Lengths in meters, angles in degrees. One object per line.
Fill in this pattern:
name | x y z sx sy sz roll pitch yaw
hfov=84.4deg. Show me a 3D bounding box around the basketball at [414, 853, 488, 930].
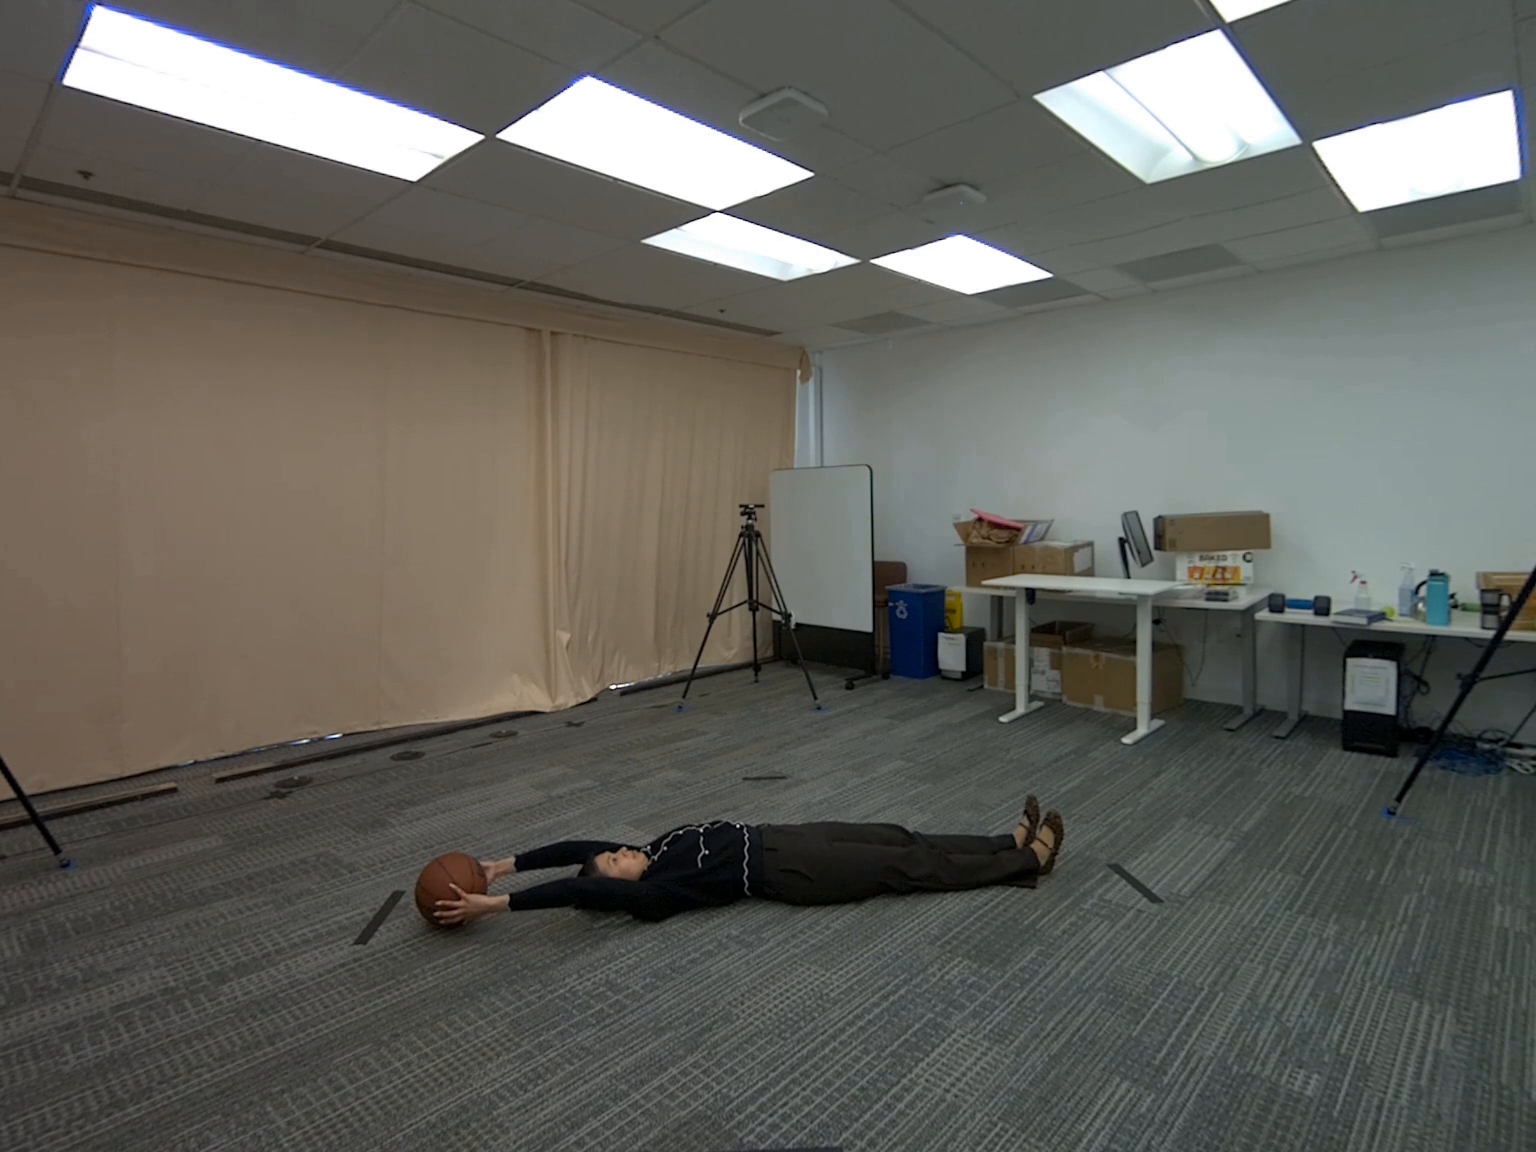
basketball | -1.065 1.054 2.836 0.236 0.235 0.237 -1 4 -2
